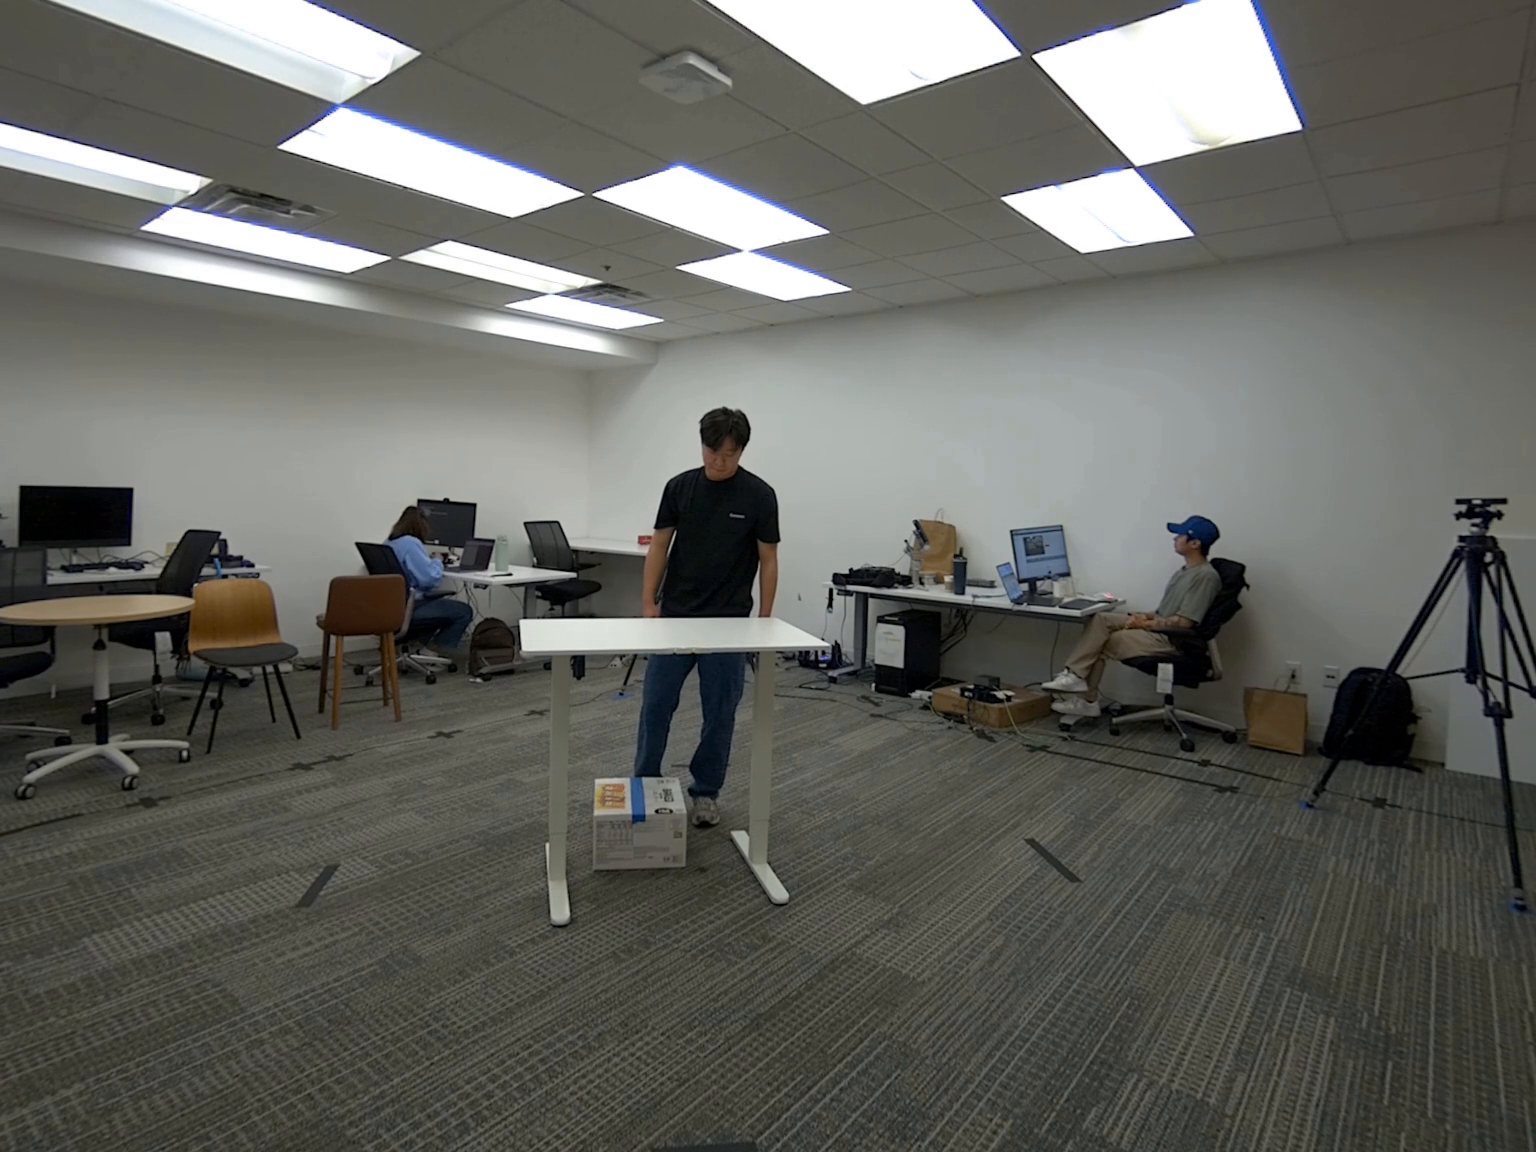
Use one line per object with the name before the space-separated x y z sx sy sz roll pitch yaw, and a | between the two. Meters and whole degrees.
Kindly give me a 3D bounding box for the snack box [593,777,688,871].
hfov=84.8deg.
snack box | -0.512 0.945 3.290 0.337 0.205 0.410 0 5 -9
